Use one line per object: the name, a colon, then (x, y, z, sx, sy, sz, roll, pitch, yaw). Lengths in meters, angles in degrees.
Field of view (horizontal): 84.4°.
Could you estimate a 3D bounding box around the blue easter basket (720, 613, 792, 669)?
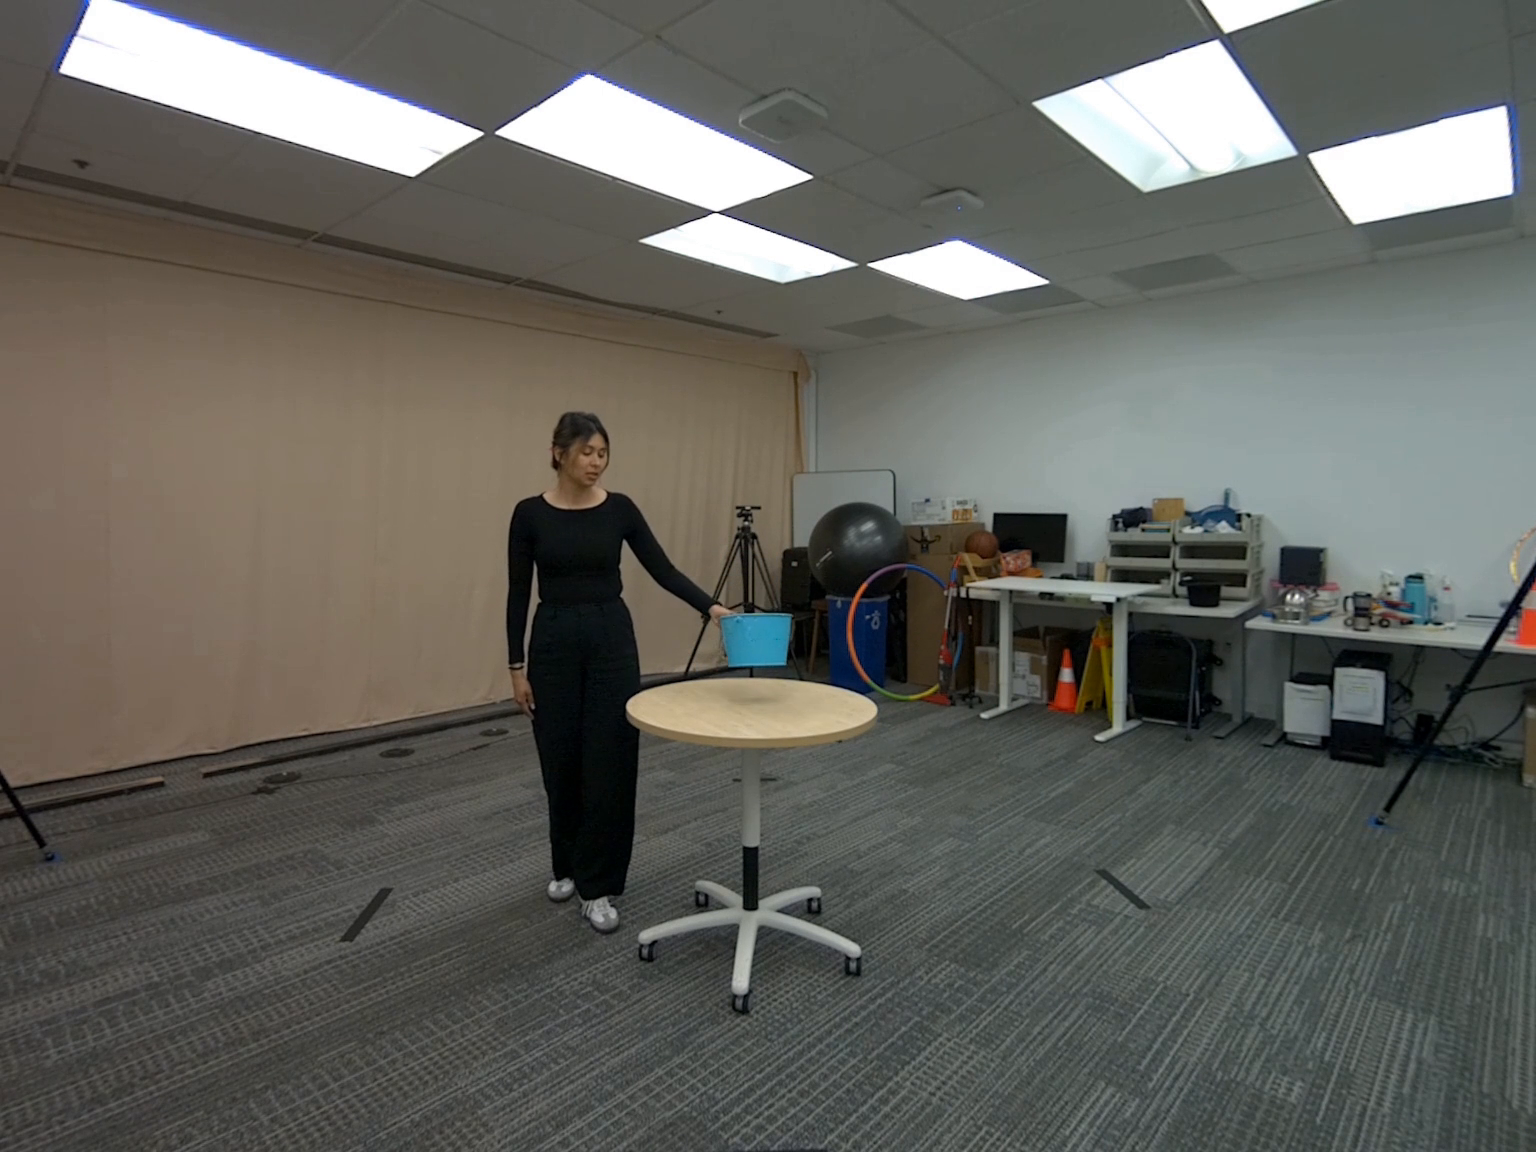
blue easter basket: (-0.045, 0.209, 2.631, 0.243, 0.156, 0.243, -1, -6, -2)
